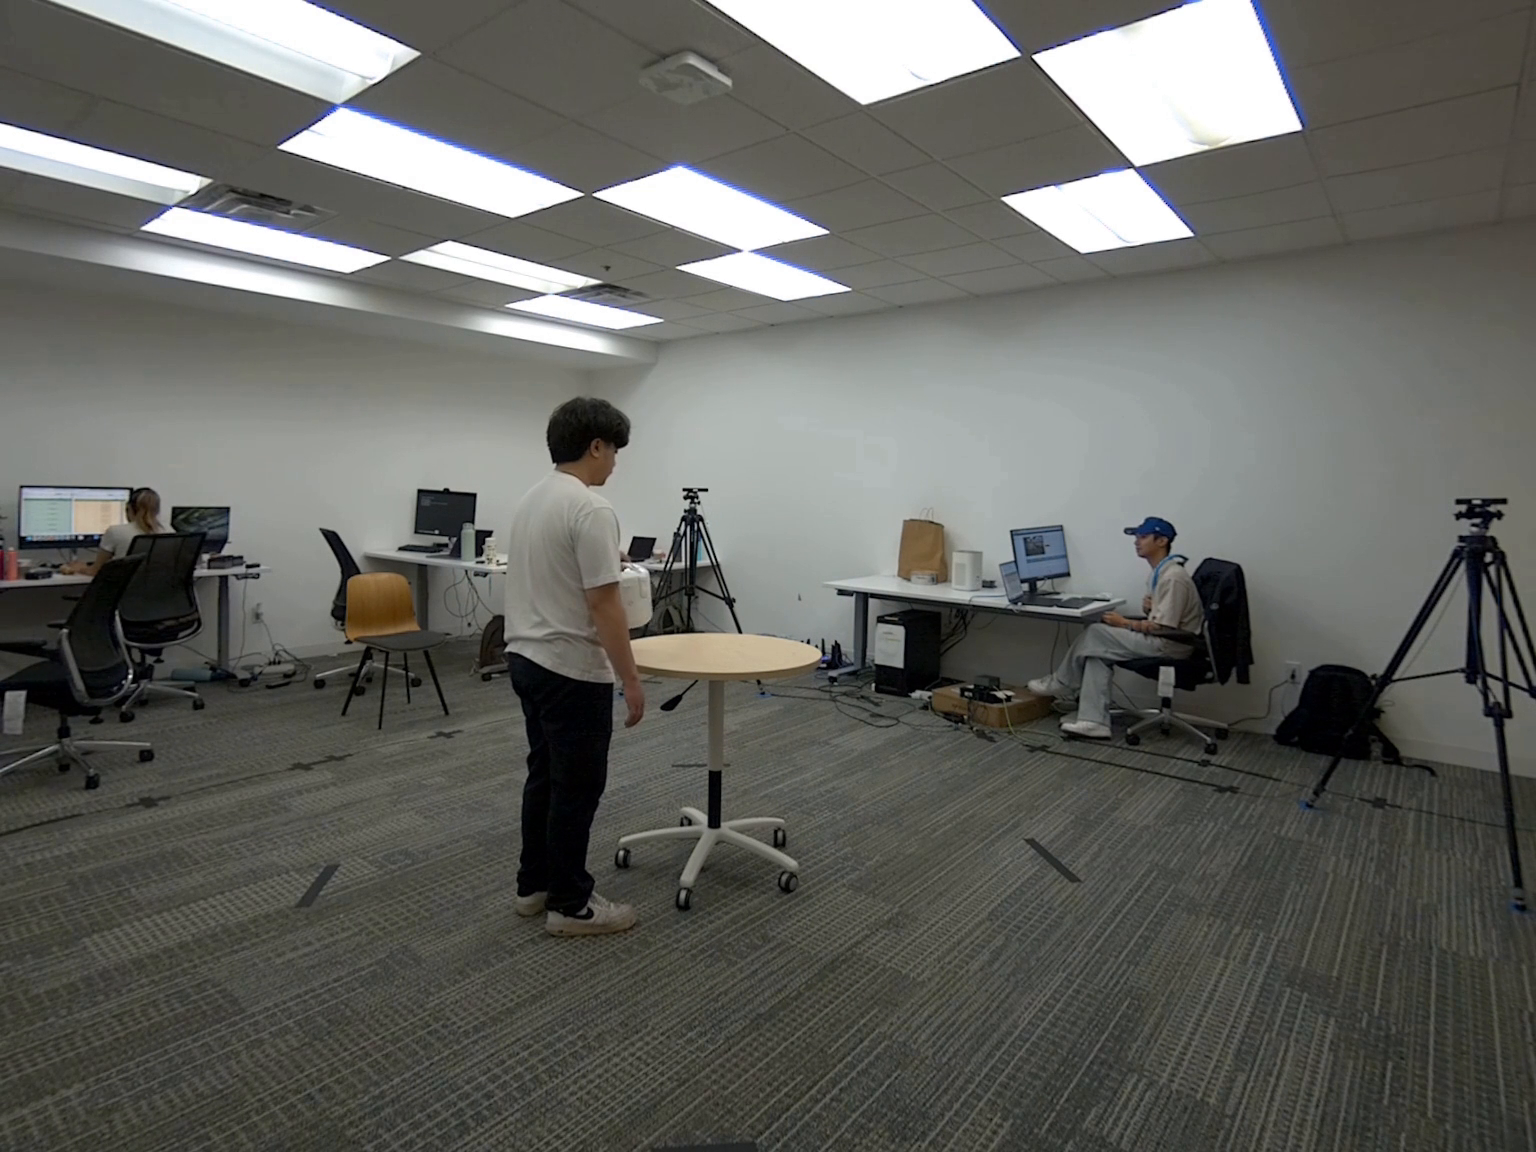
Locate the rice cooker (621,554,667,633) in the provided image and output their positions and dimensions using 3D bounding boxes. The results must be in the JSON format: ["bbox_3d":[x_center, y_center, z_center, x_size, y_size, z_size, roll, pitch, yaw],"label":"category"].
[{"bbox_3d":[-0.537,0.059,3.072,0.227,0.230,0.213,2,12,33],"label":"rice cooker"}]
